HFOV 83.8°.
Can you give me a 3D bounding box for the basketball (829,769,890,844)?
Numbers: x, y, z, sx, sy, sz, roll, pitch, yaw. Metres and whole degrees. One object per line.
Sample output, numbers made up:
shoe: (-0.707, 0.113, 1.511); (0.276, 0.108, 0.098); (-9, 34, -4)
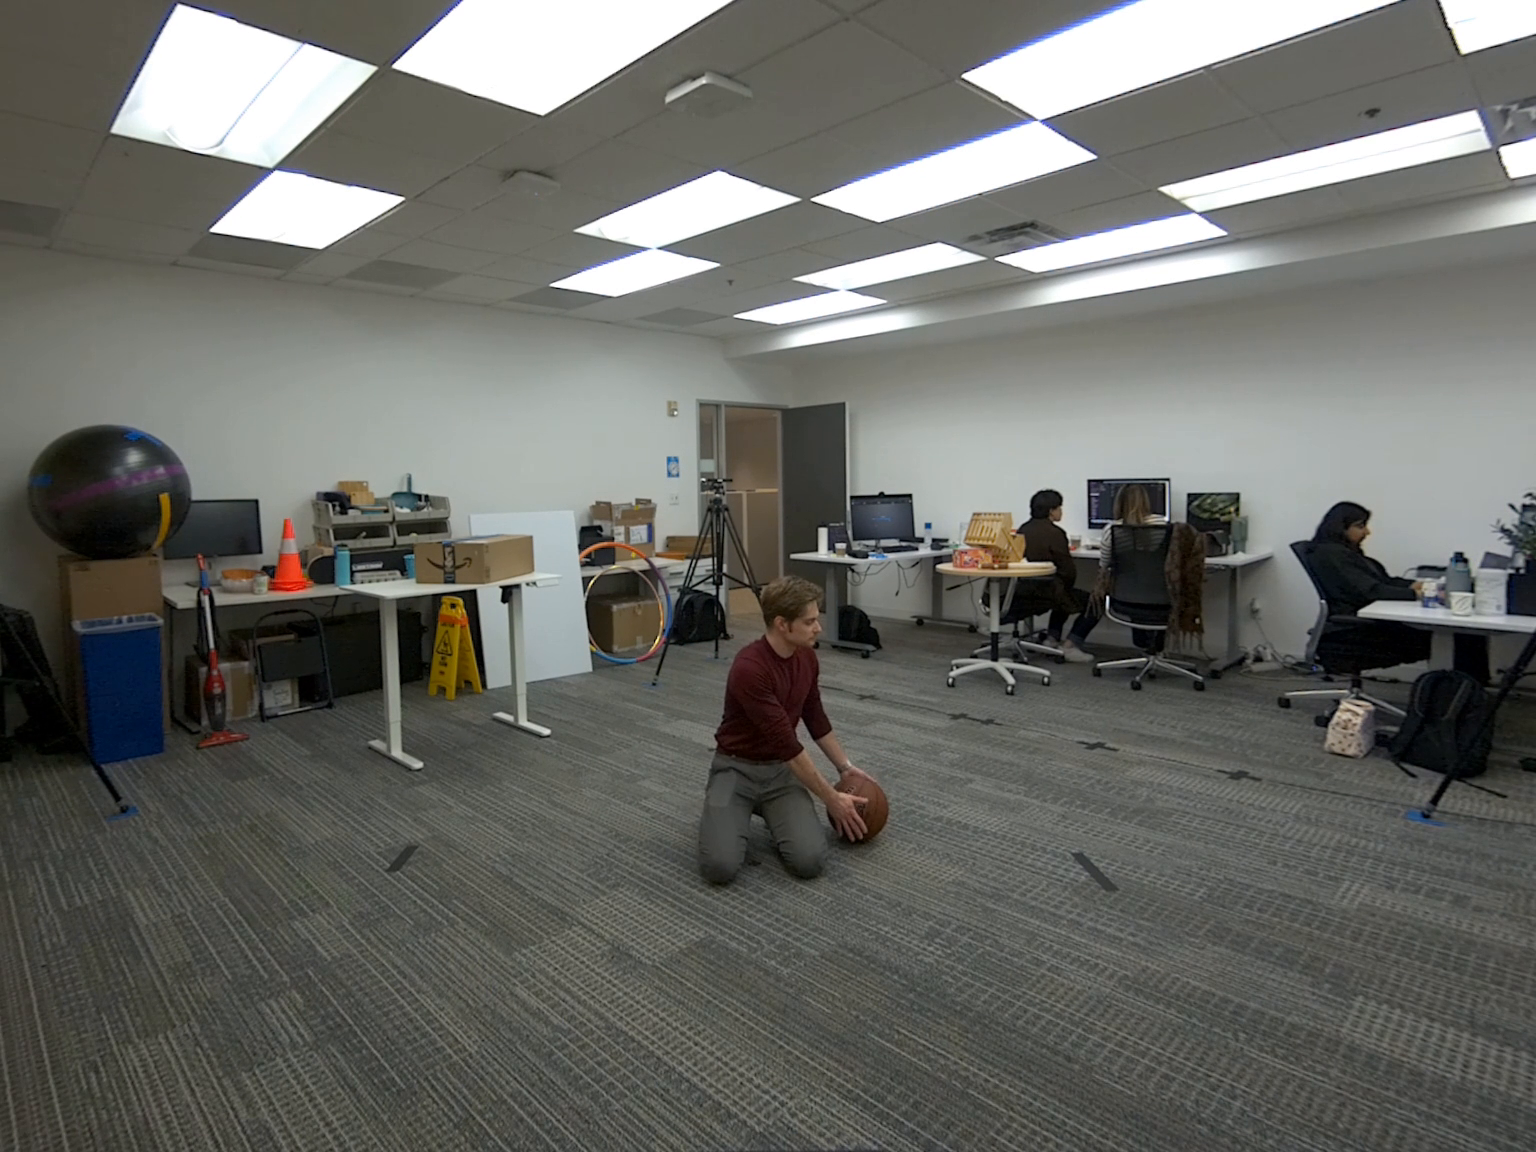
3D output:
basketball: (0.344, 0.892, 3.294); (0.236, 0.235, 0.237); (-1, 5, -2)
